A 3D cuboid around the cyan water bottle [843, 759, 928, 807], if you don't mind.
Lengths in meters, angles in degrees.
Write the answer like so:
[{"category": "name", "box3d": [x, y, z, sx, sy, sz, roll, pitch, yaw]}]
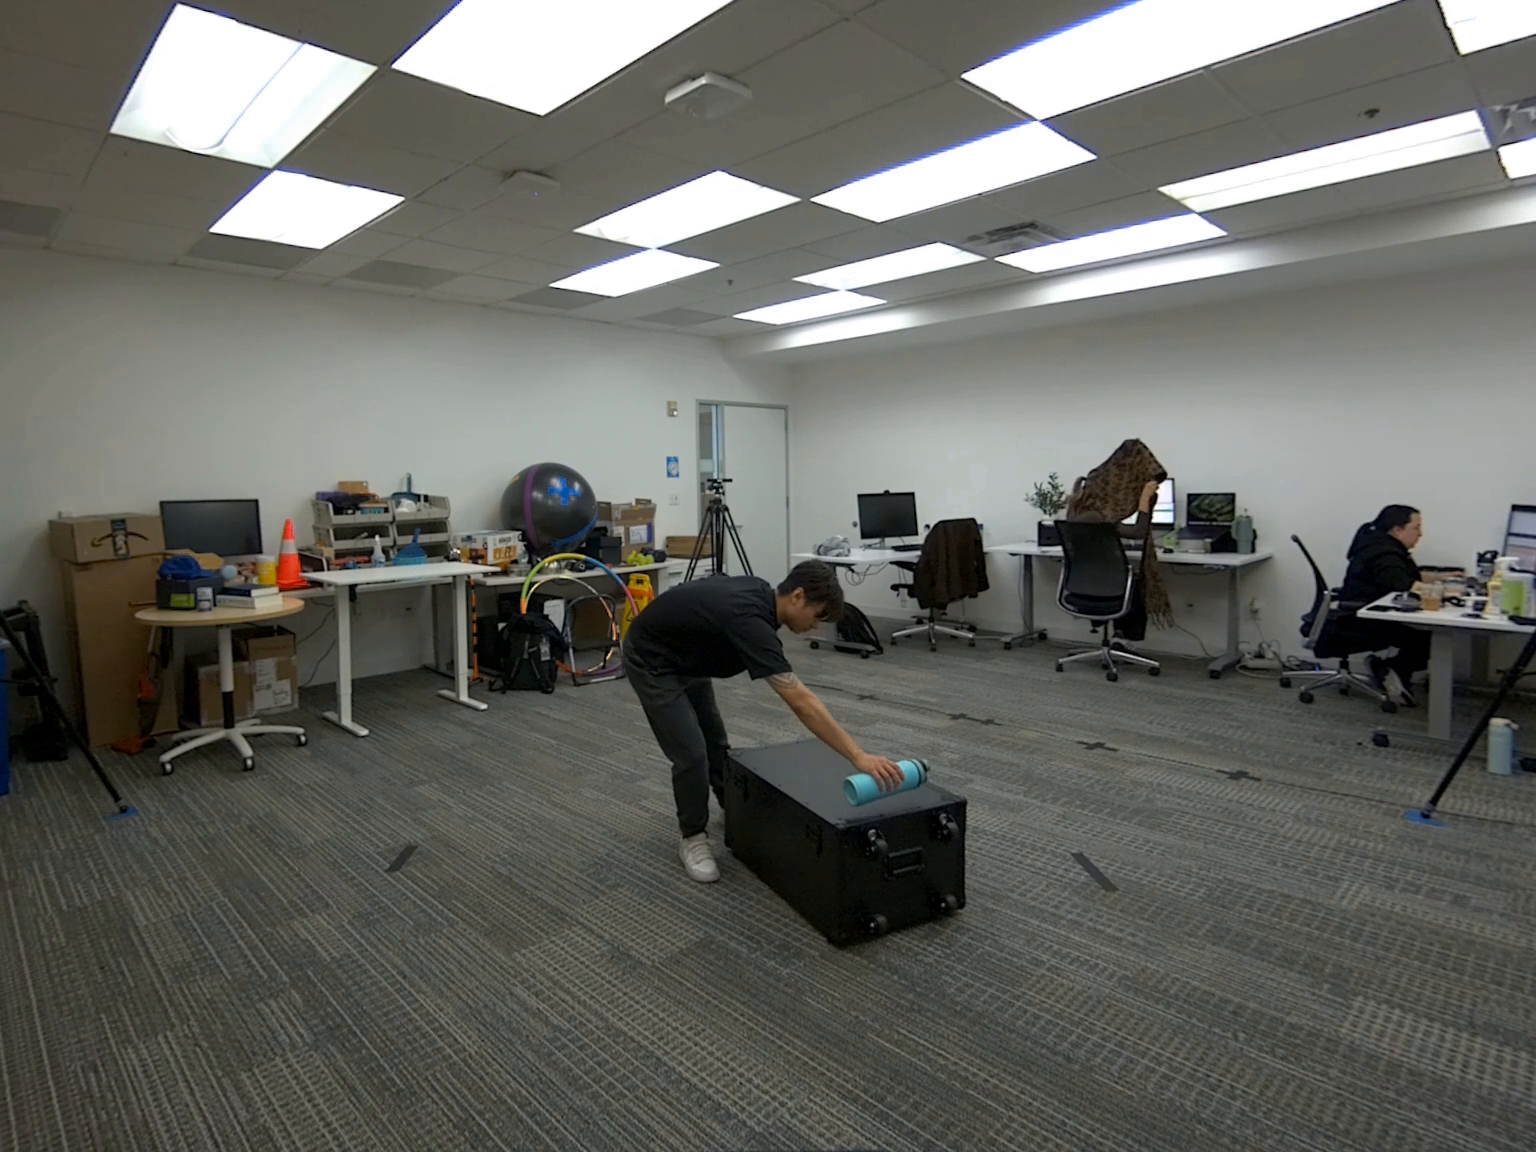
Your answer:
[{"category": "cyan water bottle", "box3d": [0.367, 0.629, 2.649, 0.279, 0.092, 0.094, -9, 7, -22]}]
